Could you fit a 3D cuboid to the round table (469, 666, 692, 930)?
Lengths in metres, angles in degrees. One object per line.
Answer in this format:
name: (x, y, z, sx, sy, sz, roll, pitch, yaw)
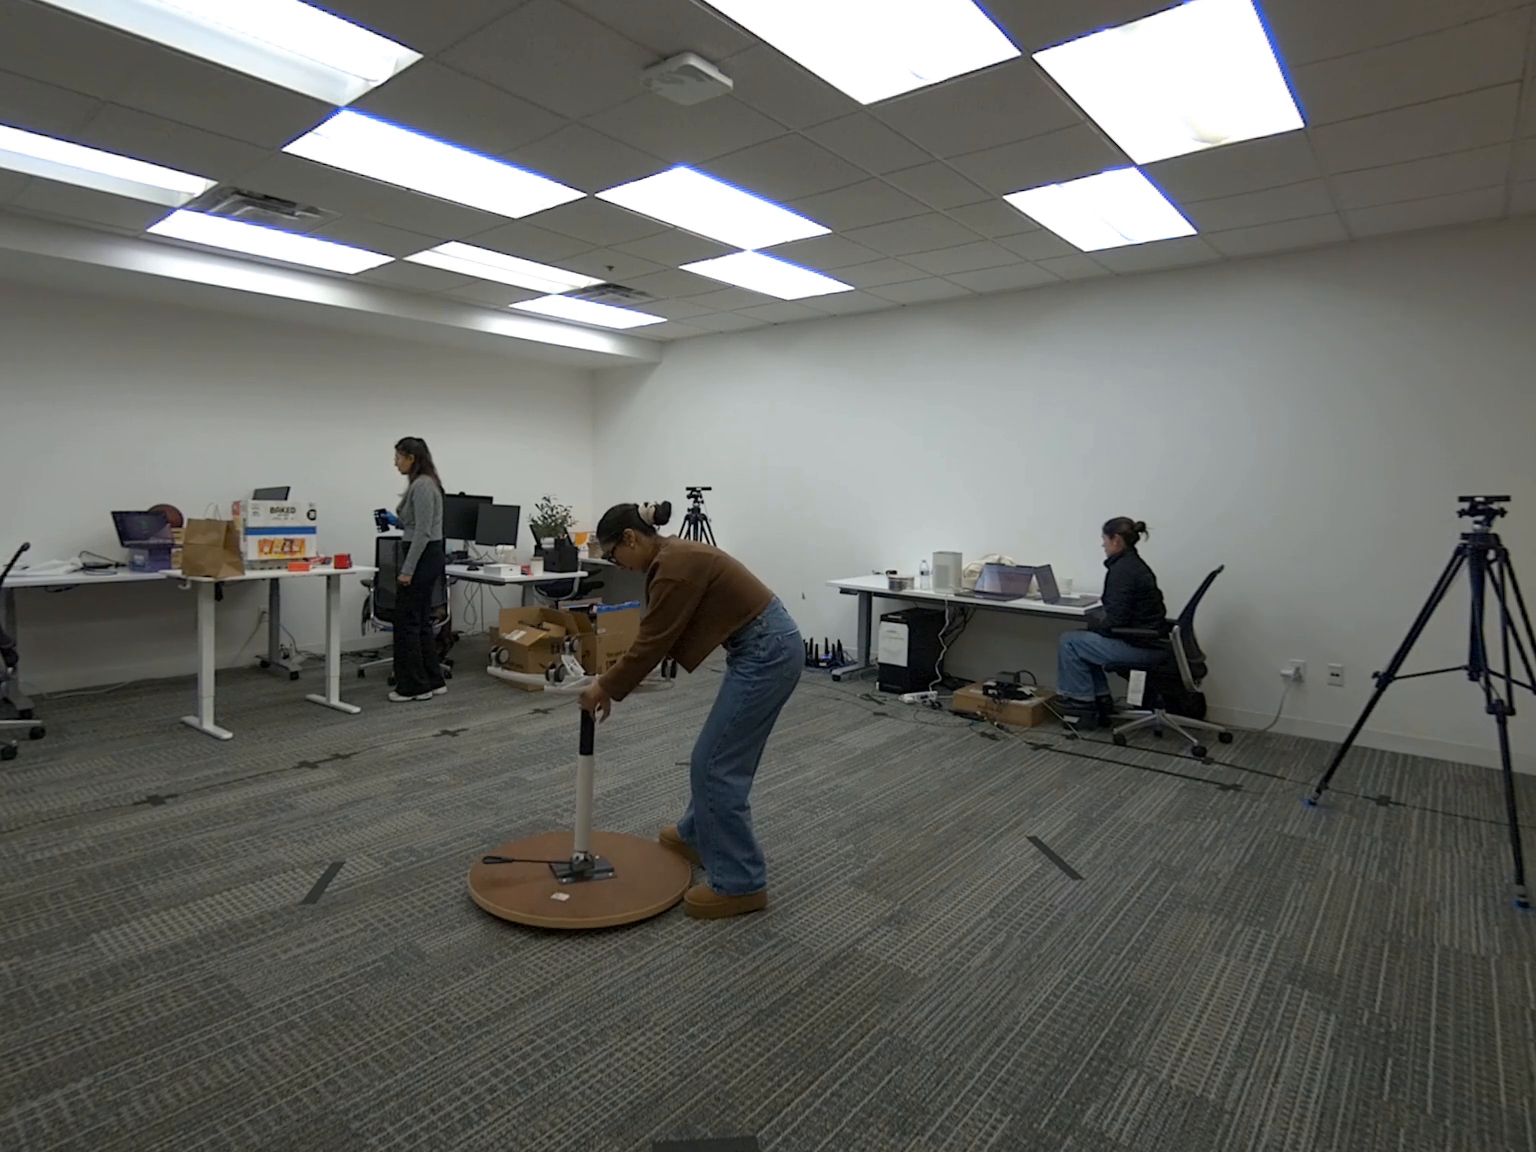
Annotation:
round table: (-0.661, 0.660, 2.982, 0.763, 0.794, 0.765, 2, 0, -2)
